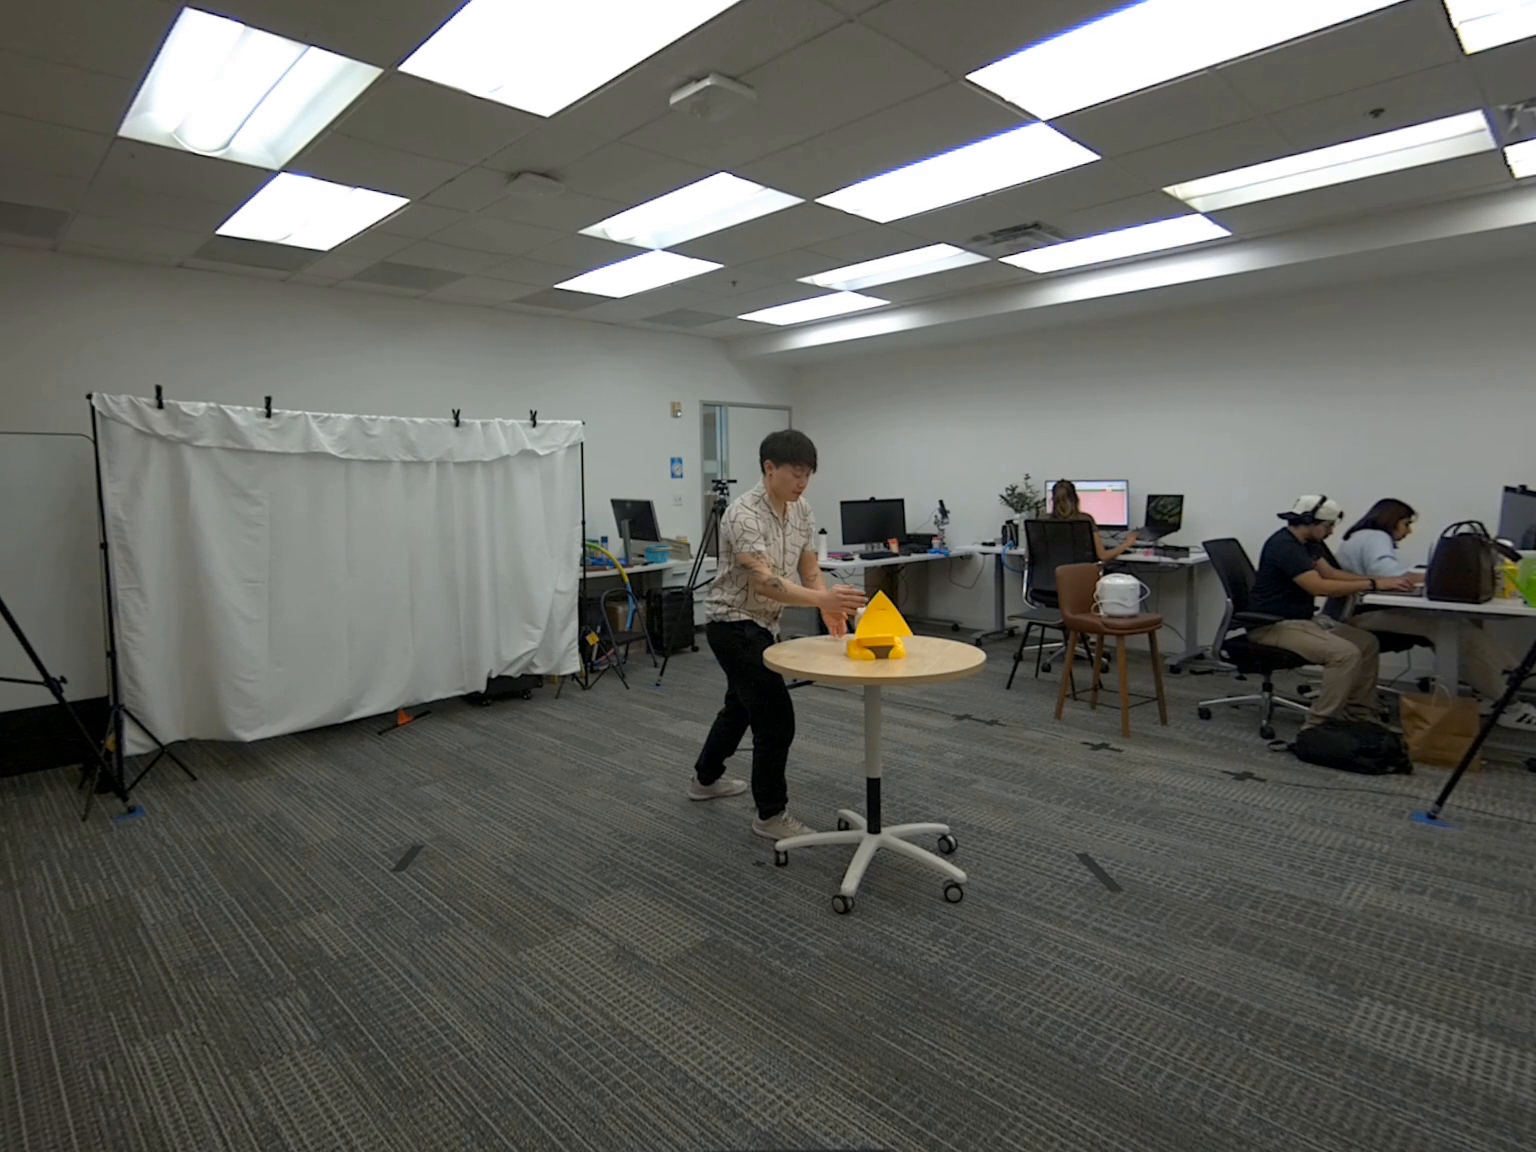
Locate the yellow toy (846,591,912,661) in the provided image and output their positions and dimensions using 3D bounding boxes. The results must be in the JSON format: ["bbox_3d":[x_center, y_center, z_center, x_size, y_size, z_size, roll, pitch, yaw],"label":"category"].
[{"bbox_3d":[0.375,0.159,2.951,0.203,0.230,0.195,-3,5,-9],"label":"yellow toy"}]
